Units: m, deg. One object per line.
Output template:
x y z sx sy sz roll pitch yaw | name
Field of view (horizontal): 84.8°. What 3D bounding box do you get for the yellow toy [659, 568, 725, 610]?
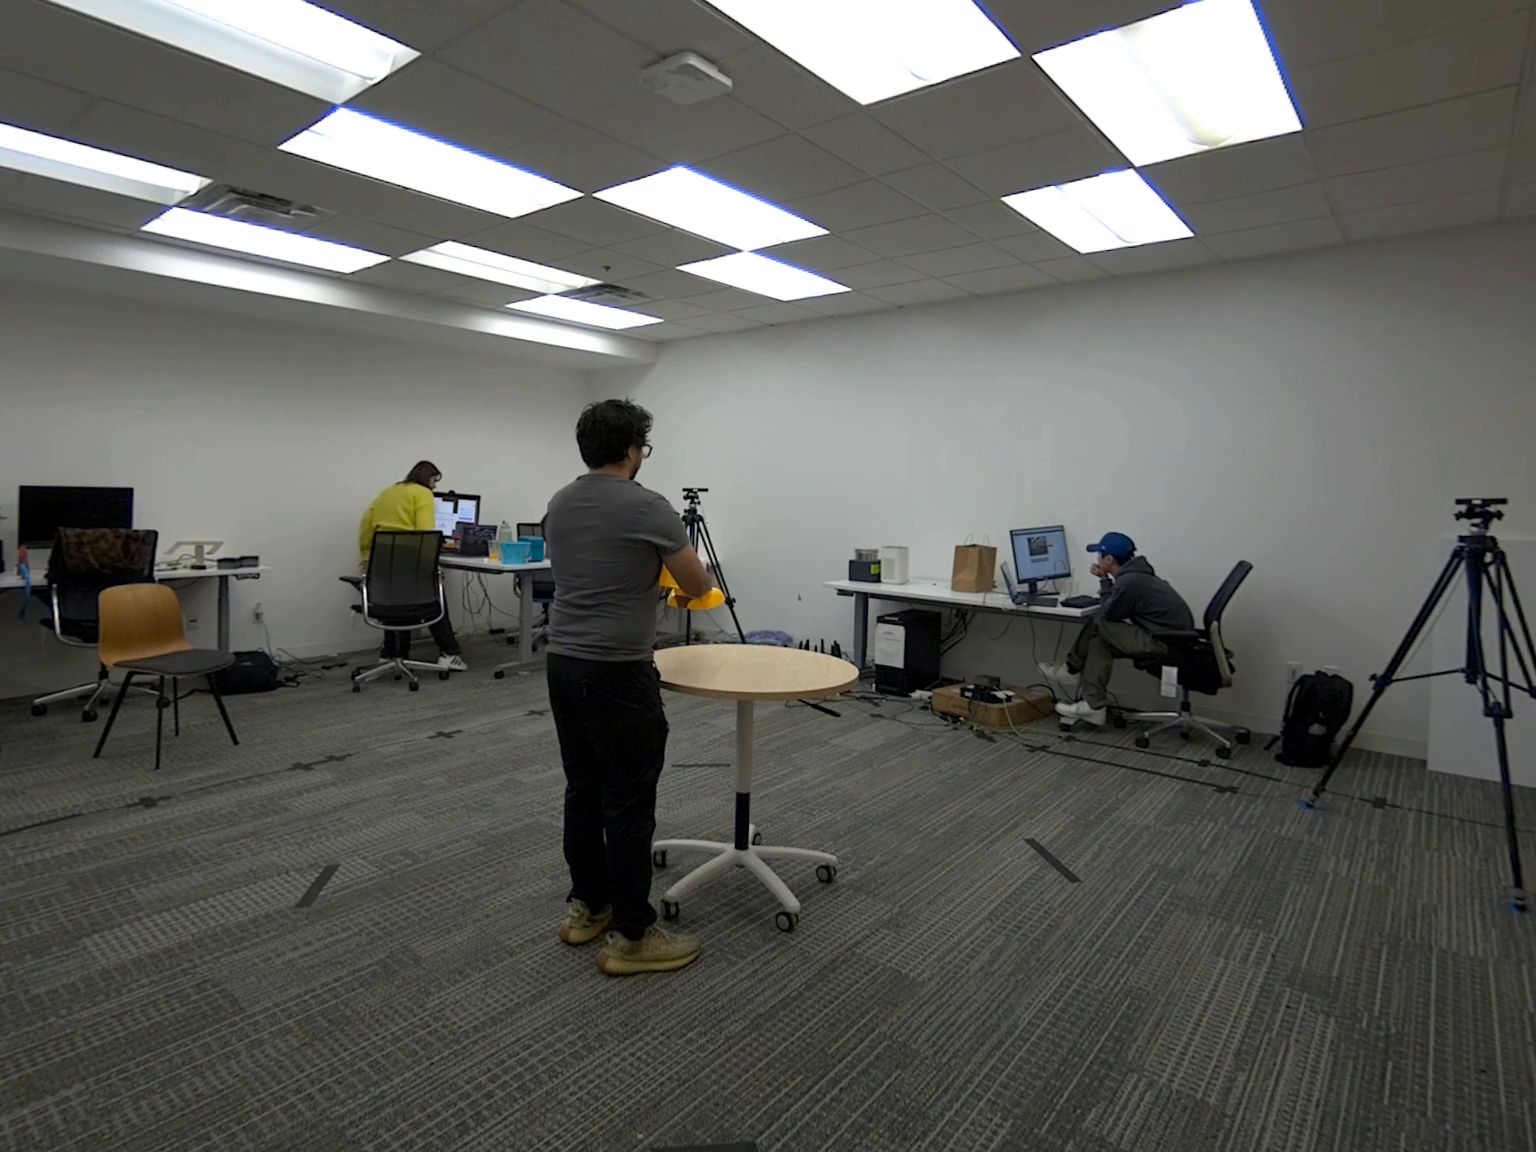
-0.281 -0.016 3.024 0.211 0.228 0.189 5 14 37 | yellow toy
